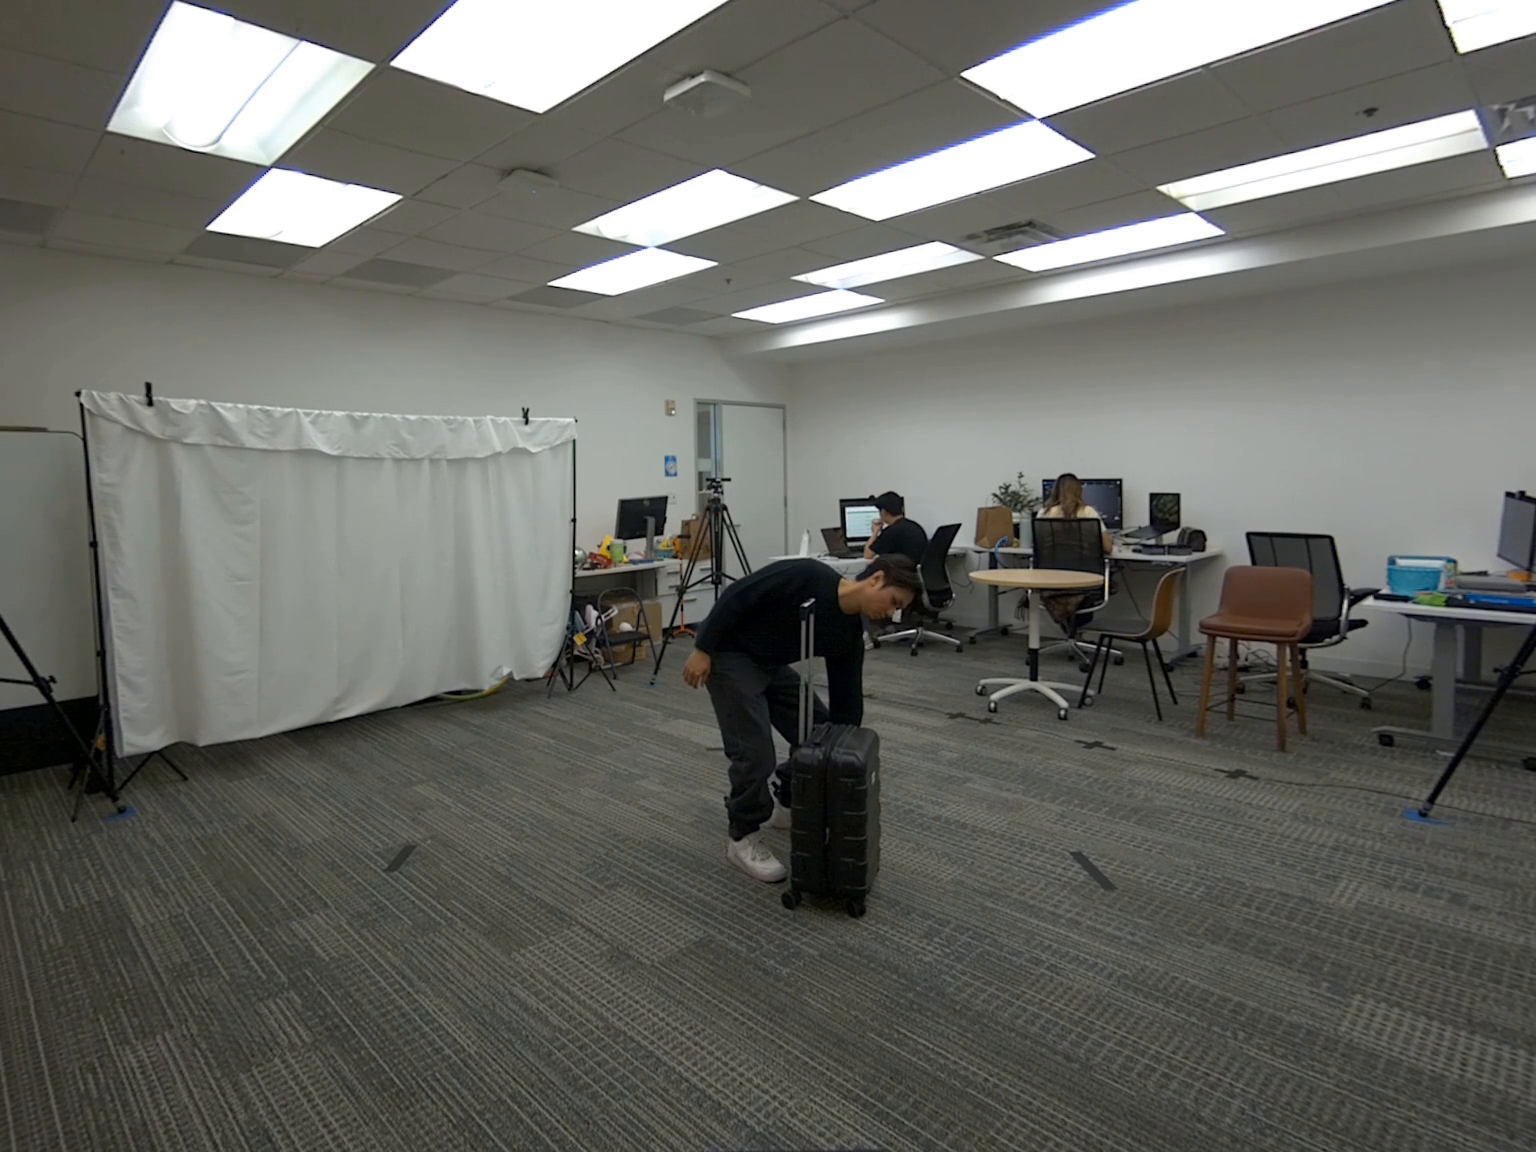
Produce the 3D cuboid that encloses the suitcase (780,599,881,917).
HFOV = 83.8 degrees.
[{"bbox_3d":[0.241,0.592,2.839,0.261,0.974,0.380,2,5,14],"label":"suitcase"}]
